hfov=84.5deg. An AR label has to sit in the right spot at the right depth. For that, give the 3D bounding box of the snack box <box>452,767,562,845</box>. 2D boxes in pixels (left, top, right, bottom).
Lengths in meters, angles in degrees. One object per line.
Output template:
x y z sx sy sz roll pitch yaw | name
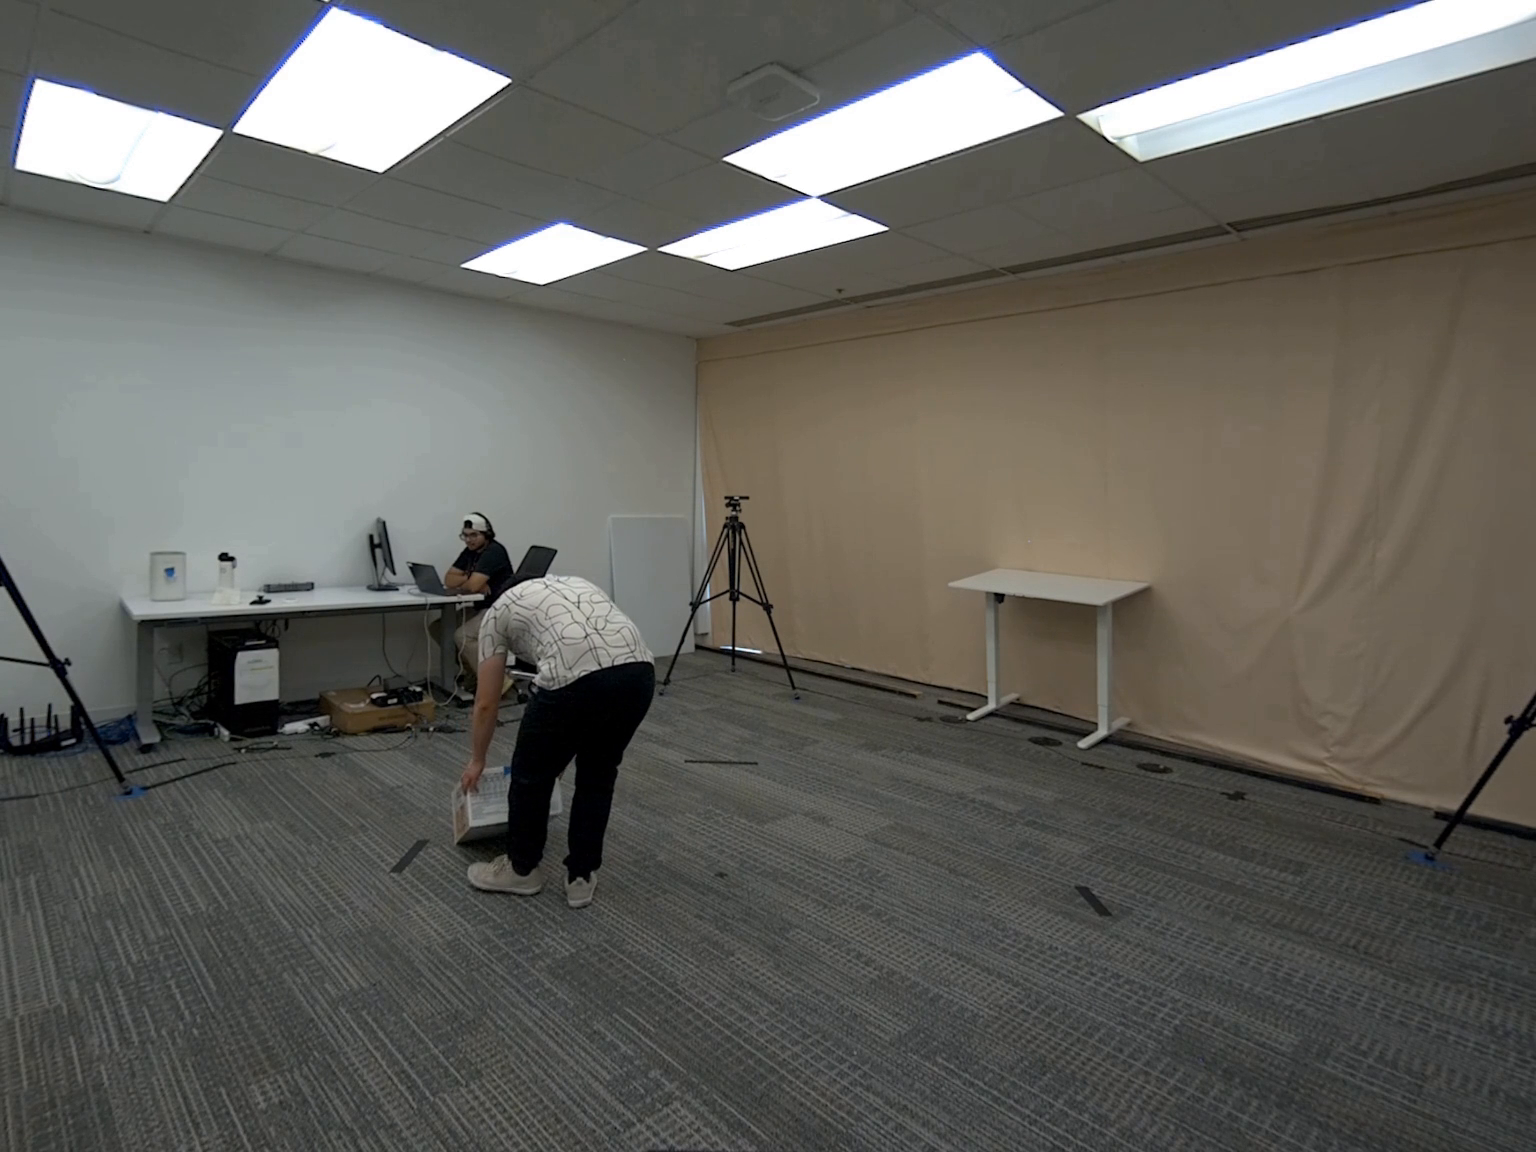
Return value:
-1.031 0.887 3.271 0.334 0.209 0.405 -2 -23 -27 | snack box
